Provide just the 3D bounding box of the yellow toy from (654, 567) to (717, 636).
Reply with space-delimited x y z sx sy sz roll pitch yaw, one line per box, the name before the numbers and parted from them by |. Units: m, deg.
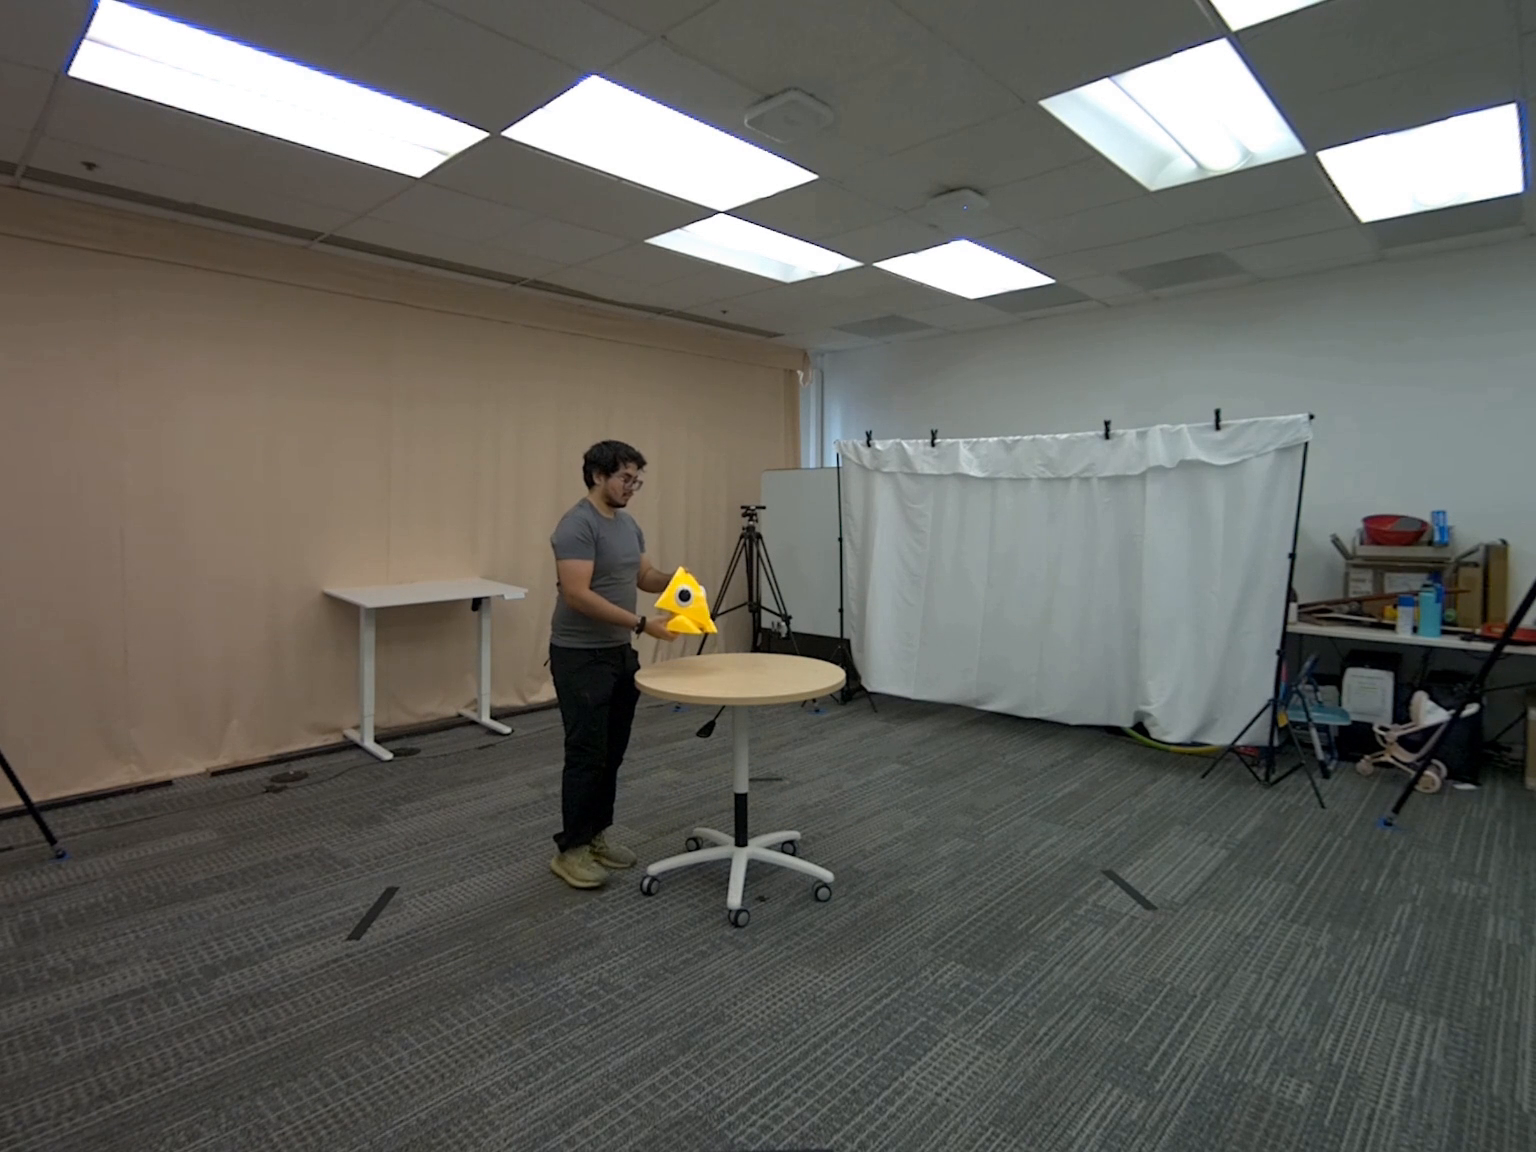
yellow toy | -0.290 0.086 3.116 0.199 0.231 0.199 5 0 29
